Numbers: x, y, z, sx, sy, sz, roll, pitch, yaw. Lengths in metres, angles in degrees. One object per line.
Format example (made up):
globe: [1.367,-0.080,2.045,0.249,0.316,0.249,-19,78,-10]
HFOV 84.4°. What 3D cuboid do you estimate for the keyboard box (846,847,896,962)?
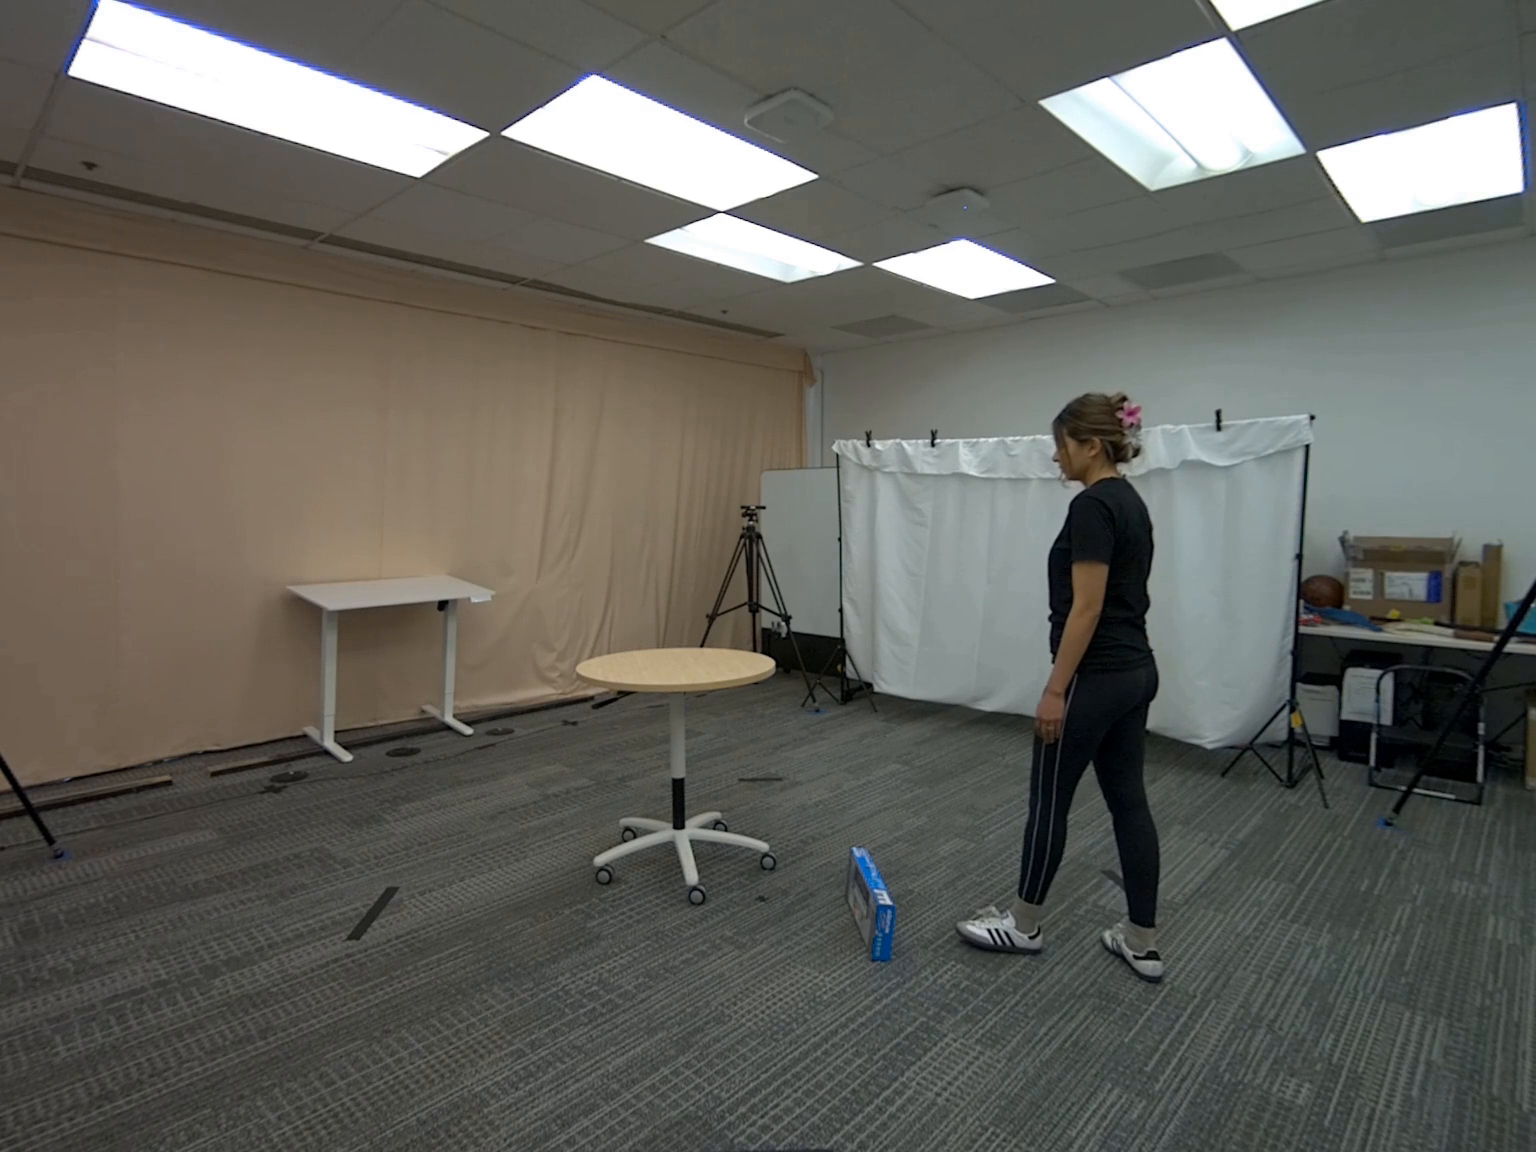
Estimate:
keyboard box: [0.335,1.071,2.783,0.059,0.176,0.440,5,4,-7]
